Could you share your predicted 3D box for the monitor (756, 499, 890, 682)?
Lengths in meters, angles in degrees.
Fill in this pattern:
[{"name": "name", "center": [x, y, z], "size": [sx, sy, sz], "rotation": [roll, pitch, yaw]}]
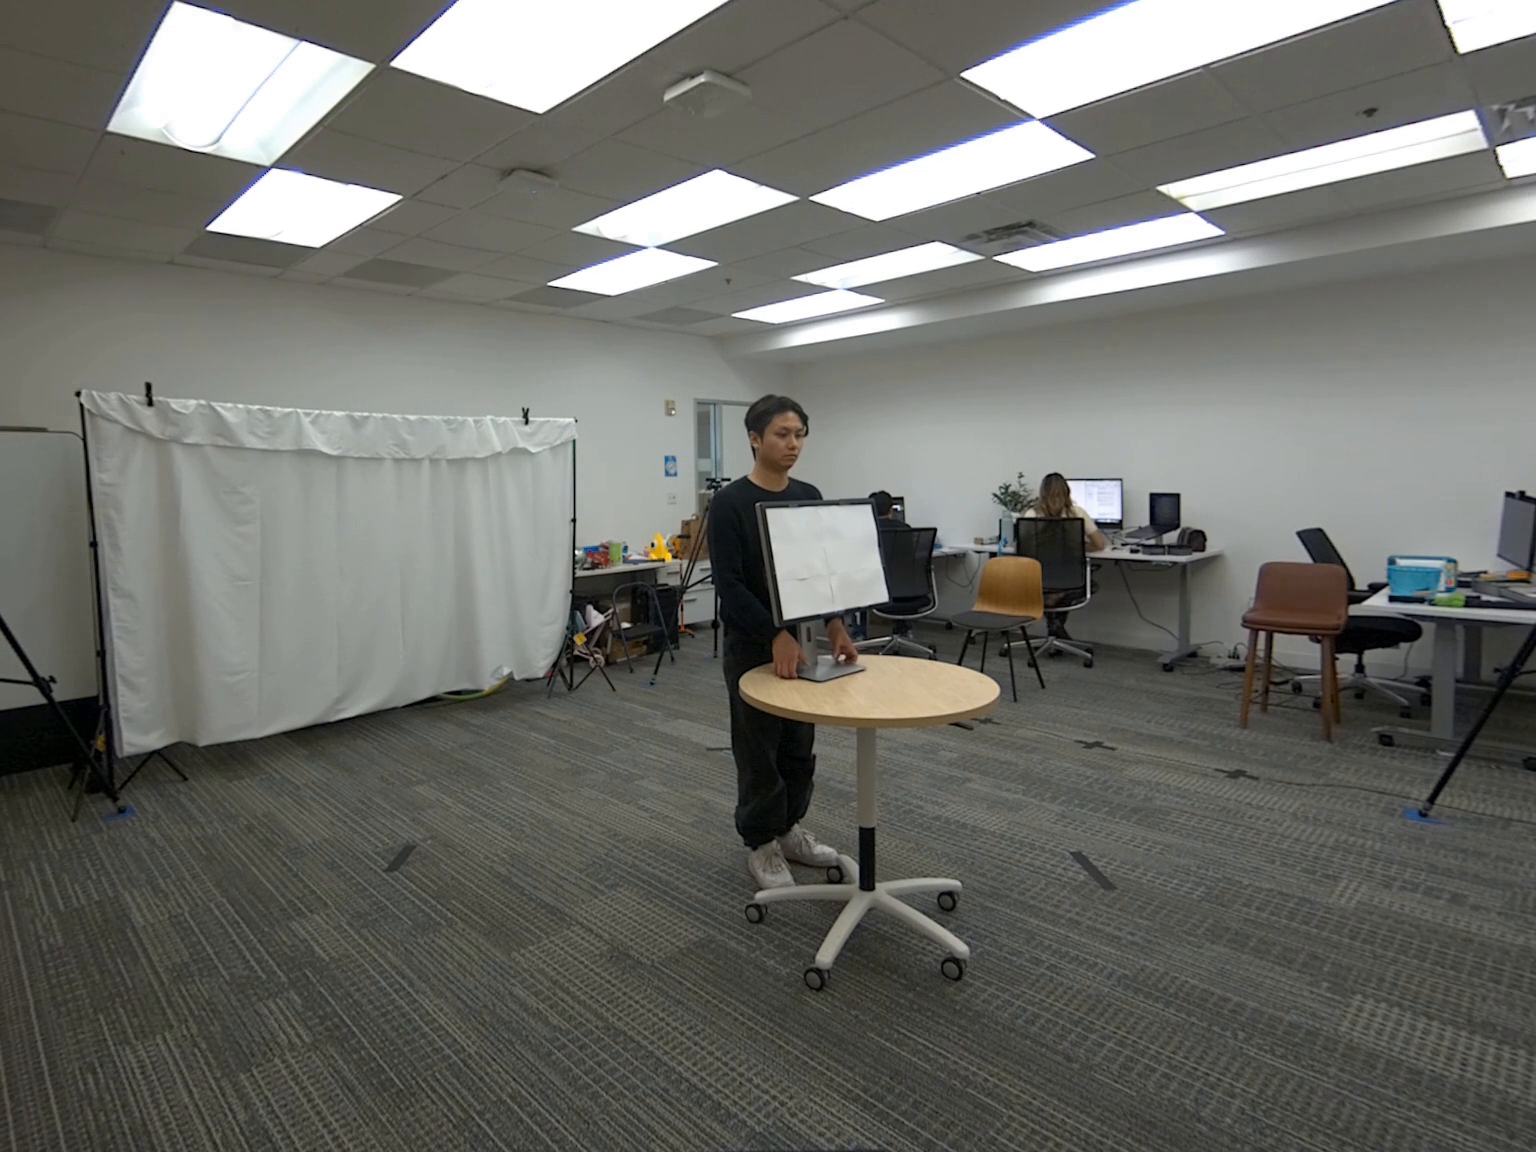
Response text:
[{"name": "monitor", "center": [0.156, 0.036, 2.697], "size": [0.193, 0.521, 0.525], "rotation": [3, 5, 40]}]
